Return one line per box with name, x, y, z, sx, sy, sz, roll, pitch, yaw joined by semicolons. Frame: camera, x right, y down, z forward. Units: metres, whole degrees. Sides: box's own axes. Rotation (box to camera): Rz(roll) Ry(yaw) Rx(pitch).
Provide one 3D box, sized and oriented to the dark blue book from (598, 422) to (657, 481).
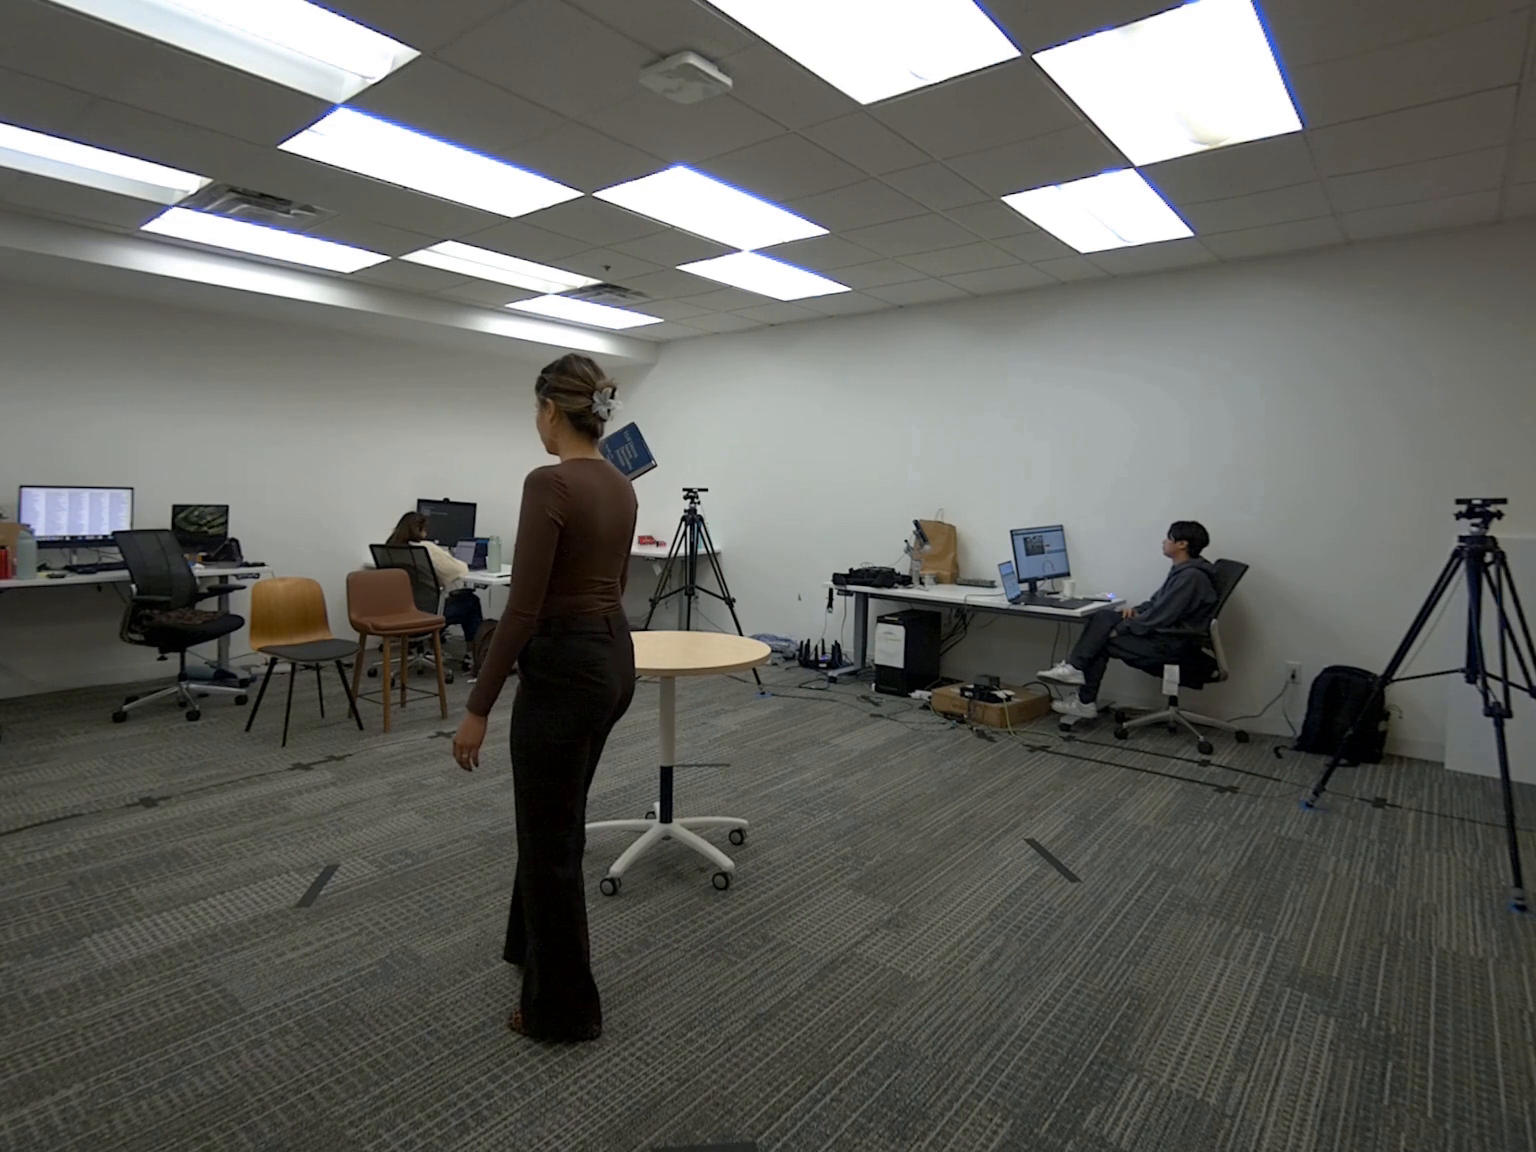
dark blue book;-0.482;-0.341;2.558;0.245;0.169;0.043;-30;-27;4
